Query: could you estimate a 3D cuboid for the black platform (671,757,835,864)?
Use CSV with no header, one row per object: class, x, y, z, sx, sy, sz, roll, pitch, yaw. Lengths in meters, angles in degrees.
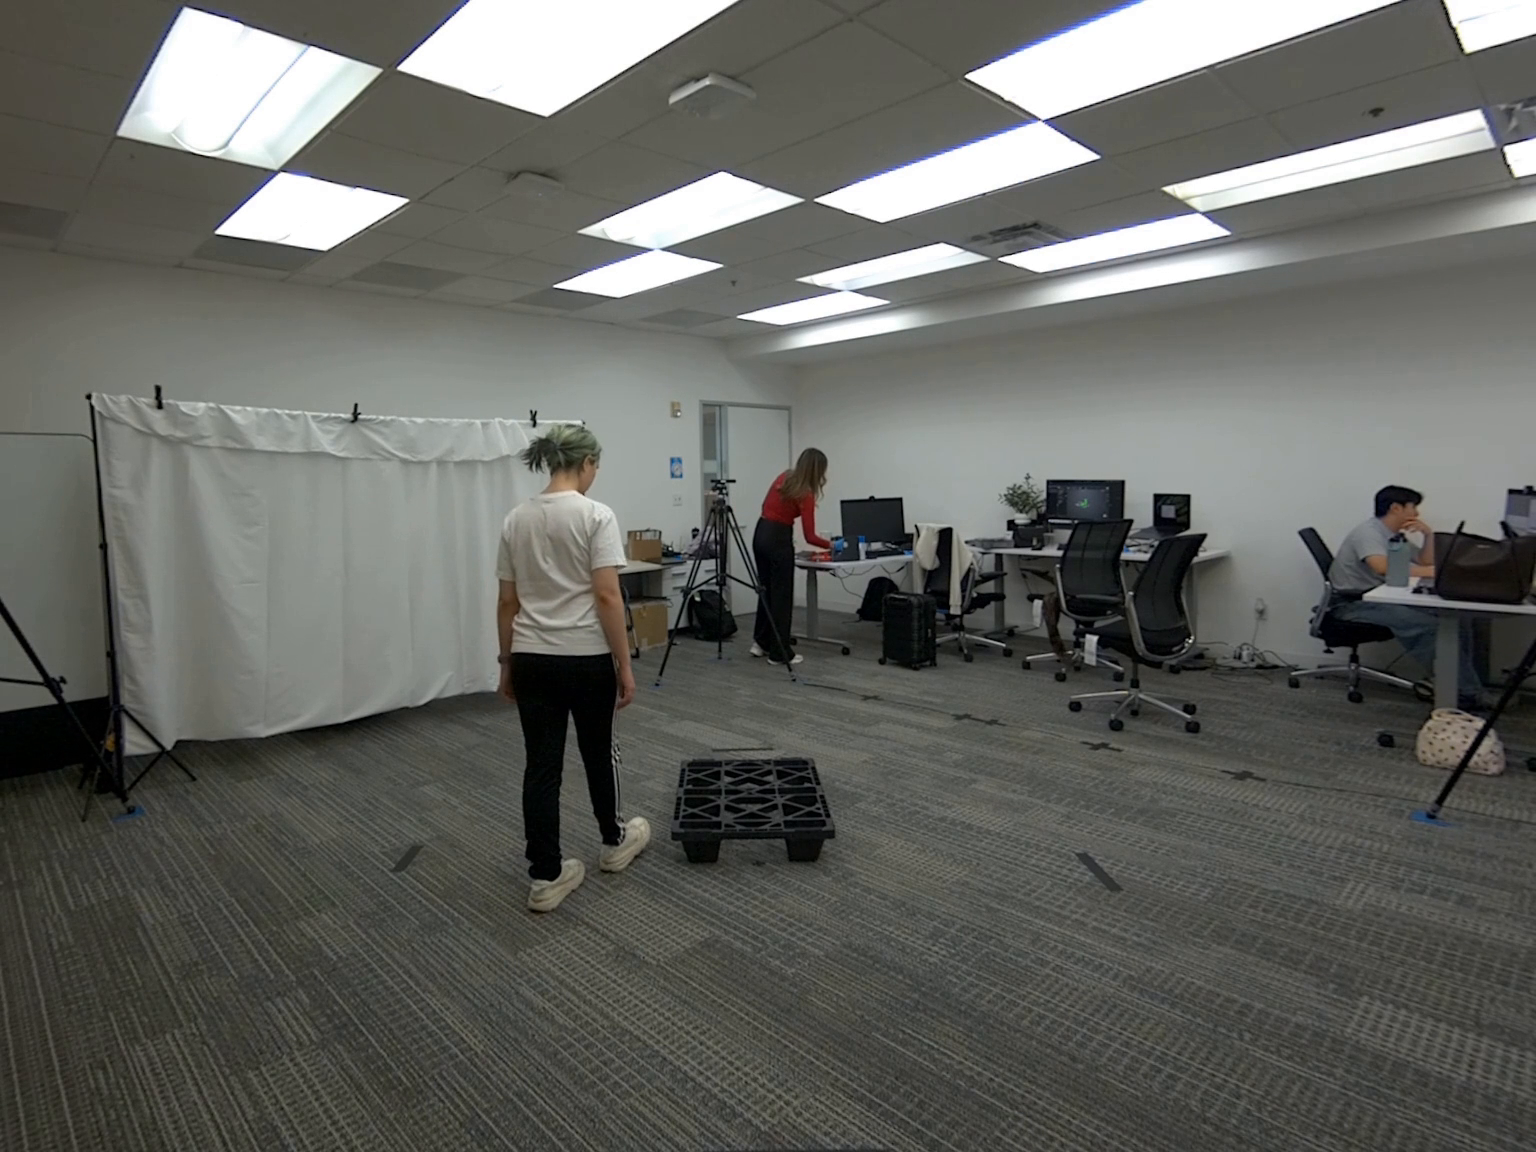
black platform,-0.073,0.937,3.477,0.605,0.143,0.809,-2,6,-1
